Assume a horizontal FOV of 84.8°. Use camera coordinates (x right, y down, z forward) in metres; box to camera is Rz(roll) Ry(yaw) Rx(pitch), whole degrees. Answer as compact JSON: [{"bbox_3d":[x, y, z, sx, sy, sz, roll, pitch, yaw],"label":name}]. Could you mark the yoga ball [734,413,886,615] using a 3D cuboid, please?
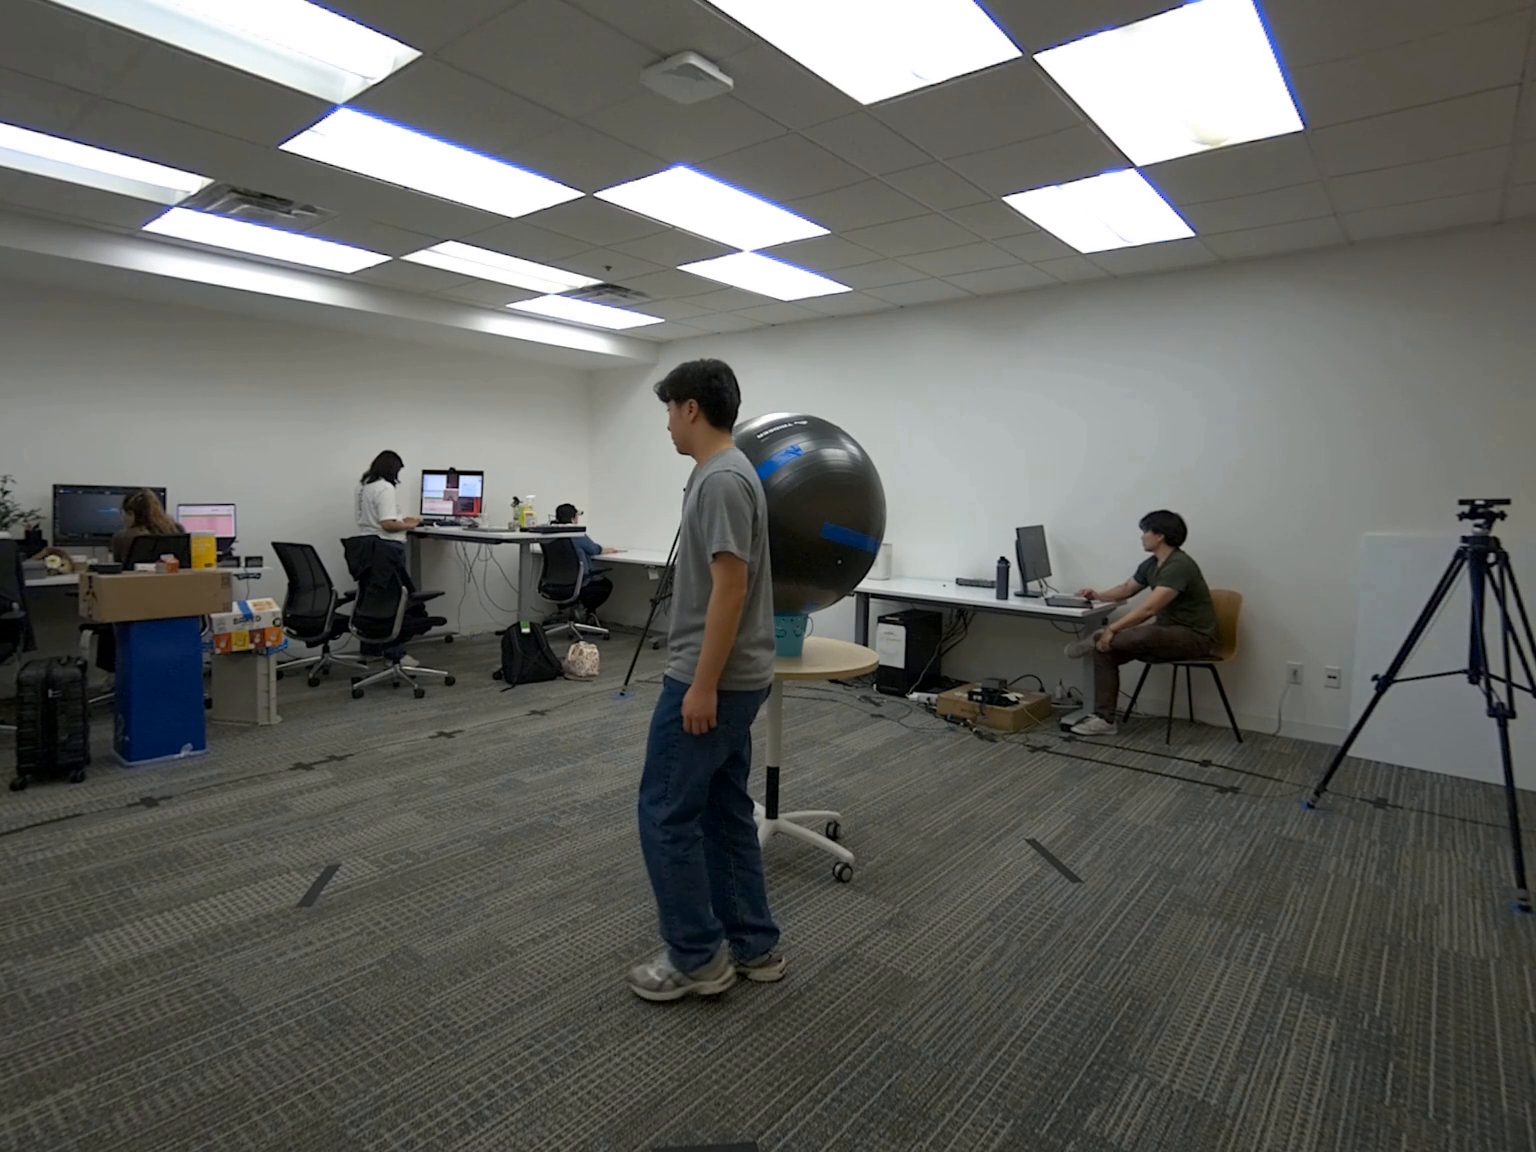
[{"bbox_3d":[0.048,-0.228,3.180,0.757,0.755,0.762,1,4,-2],"label":"yoga ball"}]
